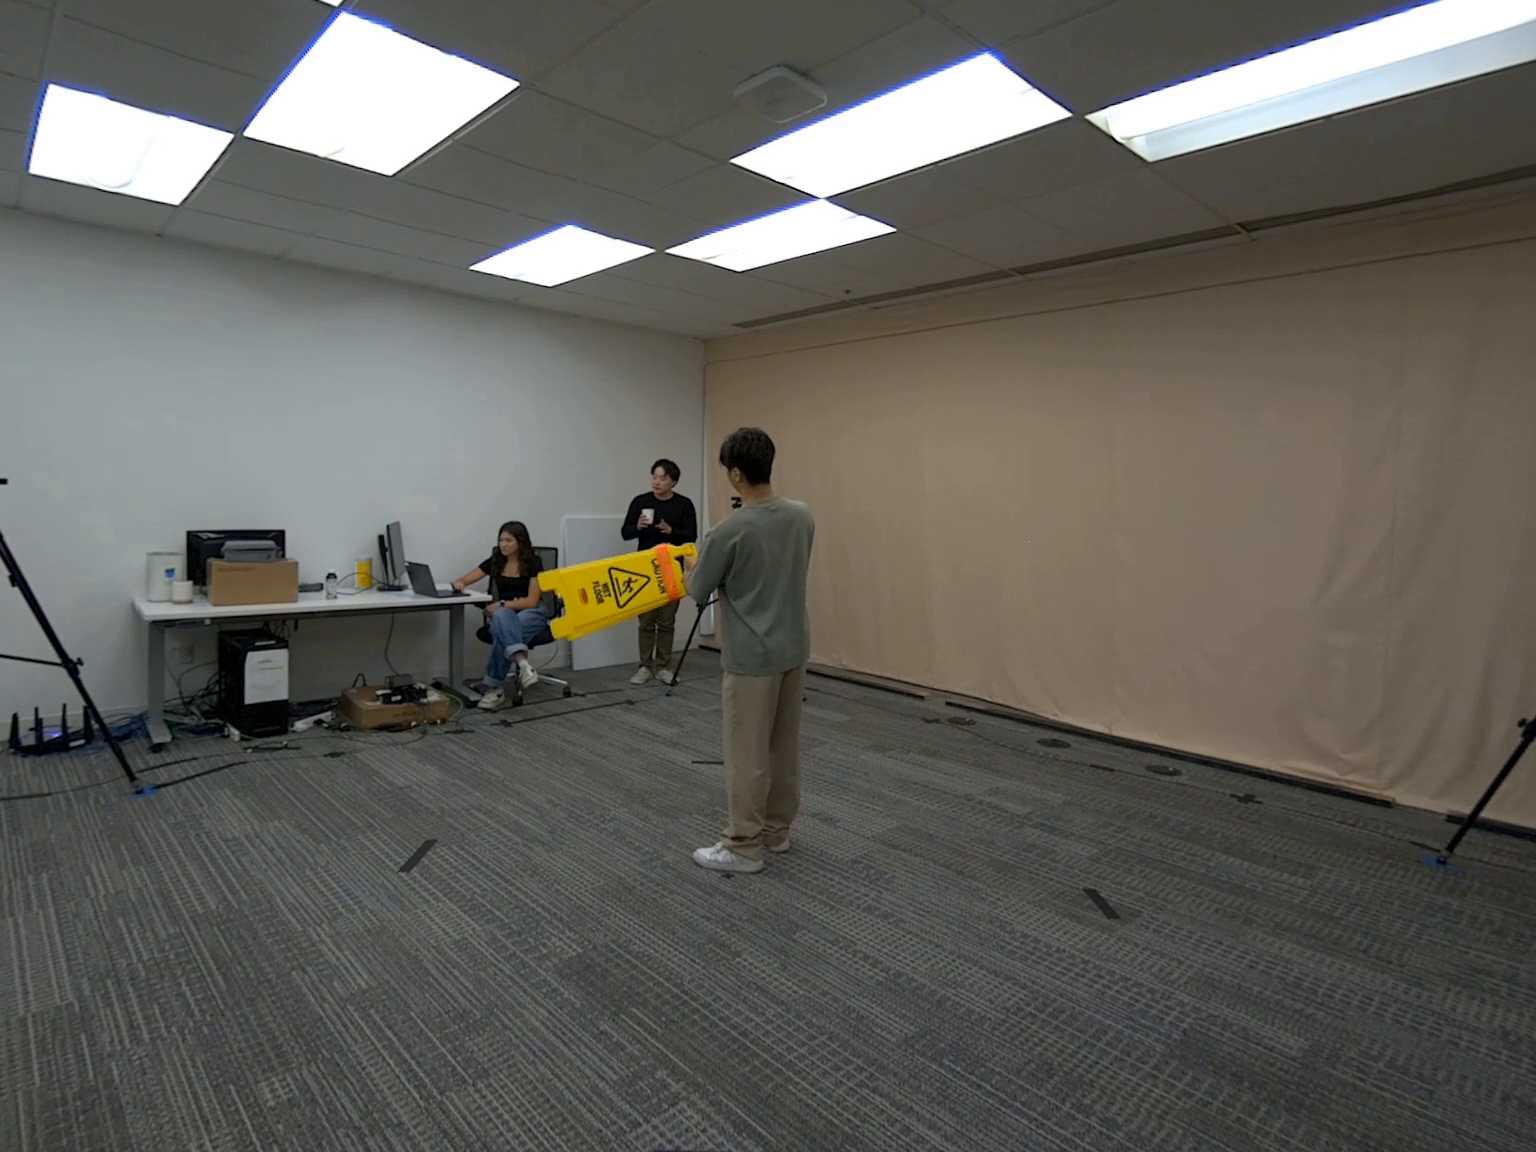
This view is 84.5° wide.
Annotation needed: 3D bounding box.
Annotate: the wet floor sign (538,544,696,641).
[{"bbox_3d":[-0.591,0.046,3.541,0.646,0.284,0.287,-17,-6,1],"label":"wet floor sign"}]
